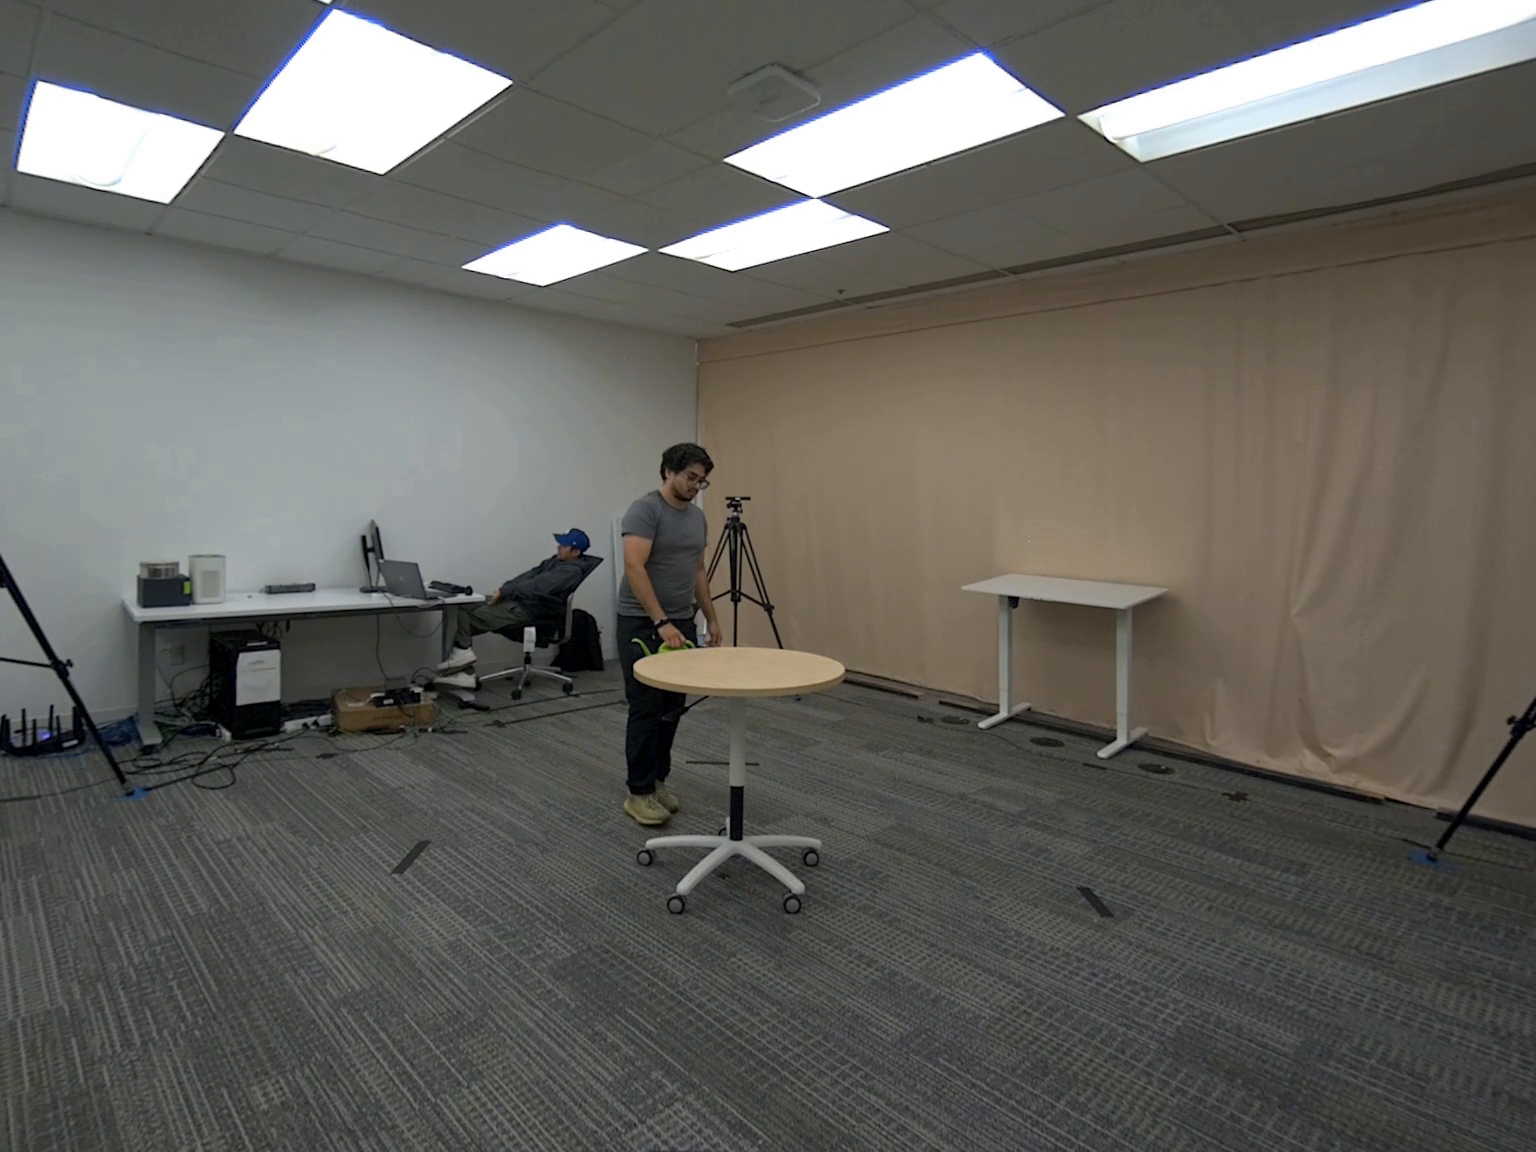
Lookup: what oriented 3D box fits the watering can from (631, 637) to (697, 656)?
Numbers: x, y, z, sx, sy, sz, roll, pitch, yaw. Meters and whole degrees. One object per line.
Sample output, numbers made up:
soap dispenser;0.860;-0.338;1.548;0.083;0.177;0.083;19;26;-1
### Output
watering can;-0.460;0.347;3.509;0.276;0.174;0.100;3;21;-7
